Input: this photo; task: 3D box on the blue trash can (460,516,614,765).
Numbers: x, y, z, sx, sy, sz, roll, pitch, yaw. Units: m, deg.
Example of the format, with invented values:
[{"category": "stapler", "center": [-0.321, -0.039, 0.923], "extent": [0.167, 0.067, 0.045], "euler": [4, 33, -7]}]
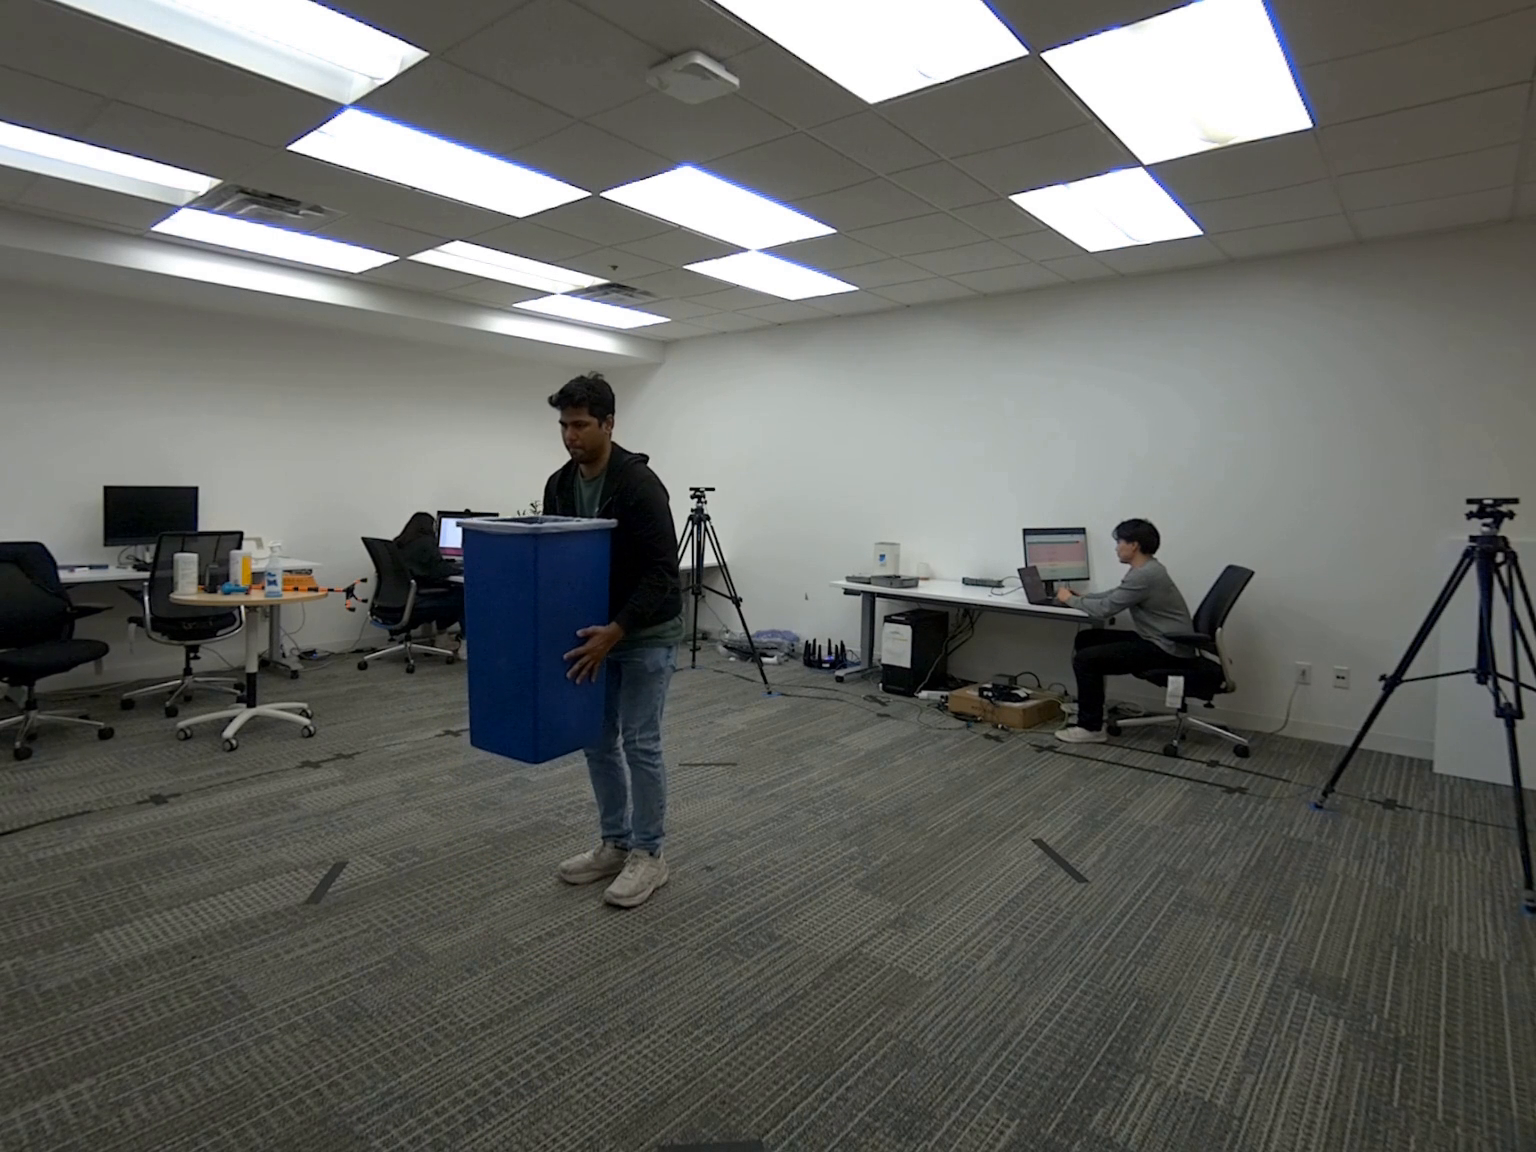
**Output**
[{"category": "blue trash can", "center": [-0.743, 0.182, 2.665], "extent": [0.390, 0.711, 0.364], "euler": [4, 4, 32]}]
